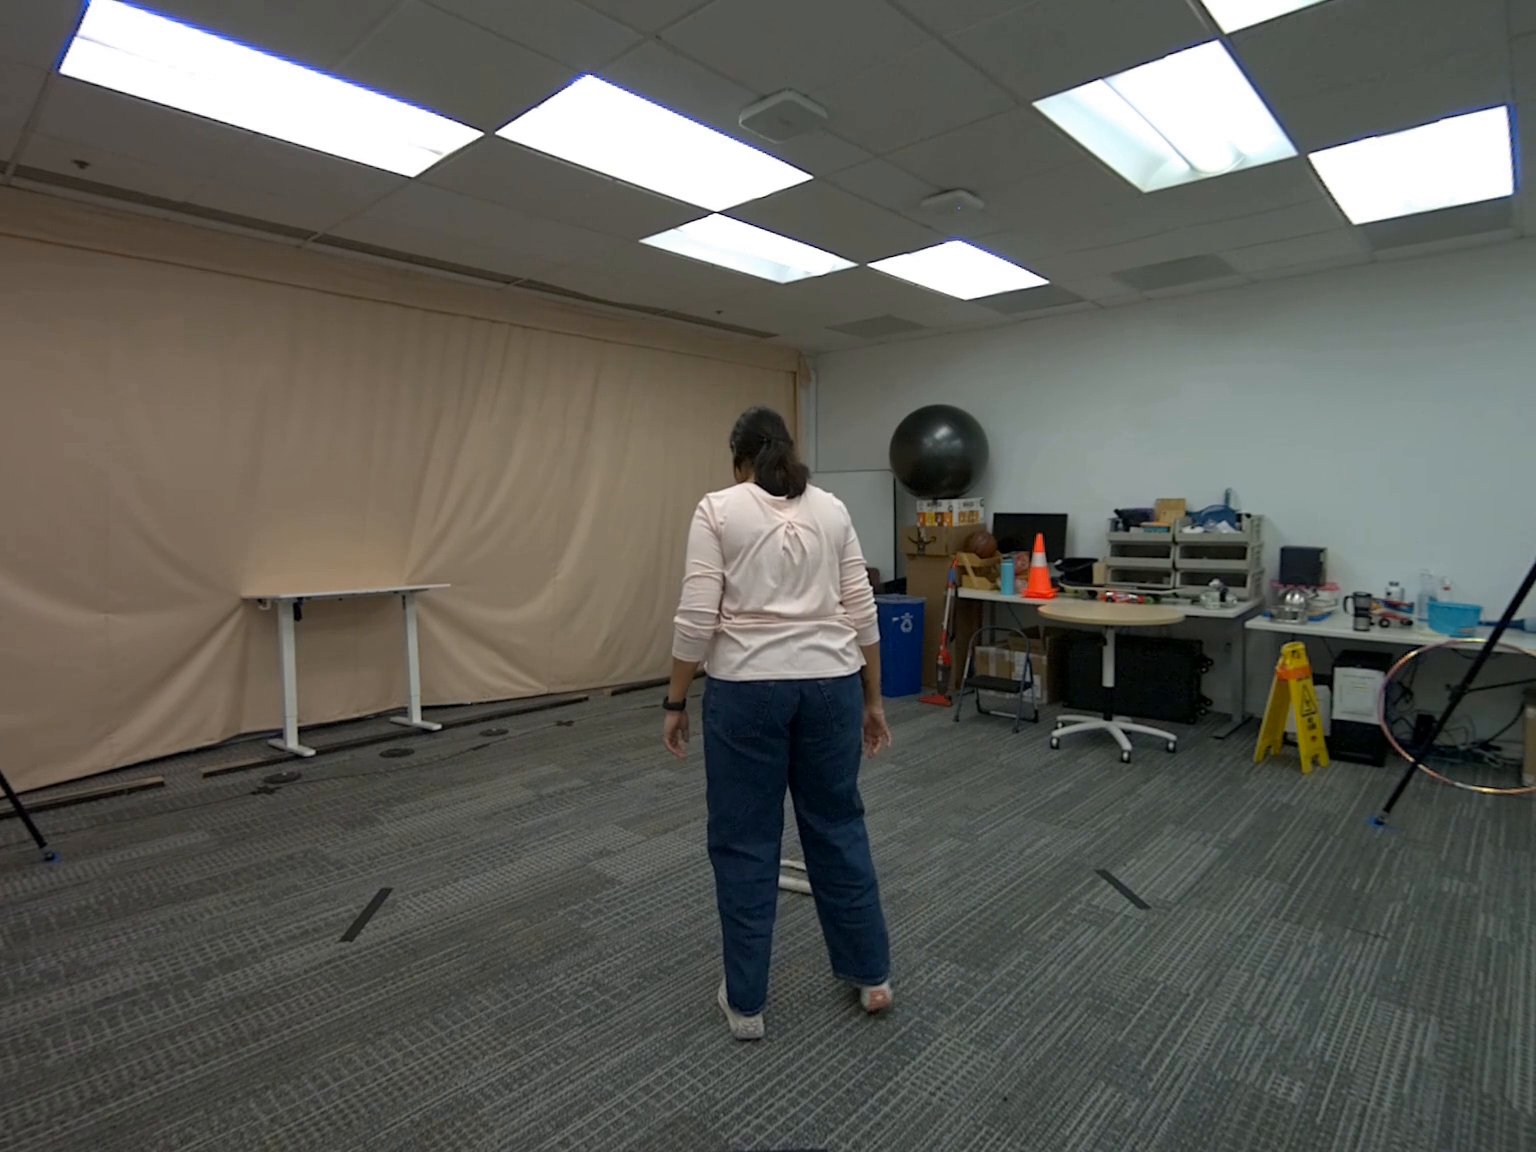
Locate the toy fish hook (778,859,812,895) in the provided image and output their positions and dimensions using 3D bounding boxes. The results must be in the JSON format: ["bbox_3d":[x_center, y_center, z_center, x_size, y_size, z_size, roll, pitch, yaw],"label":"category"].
[{"bbox_3d":[0.163,1.114,3.074,0.523,0.048,0.218,4,8,40],"label":"toy fish hook"}]
